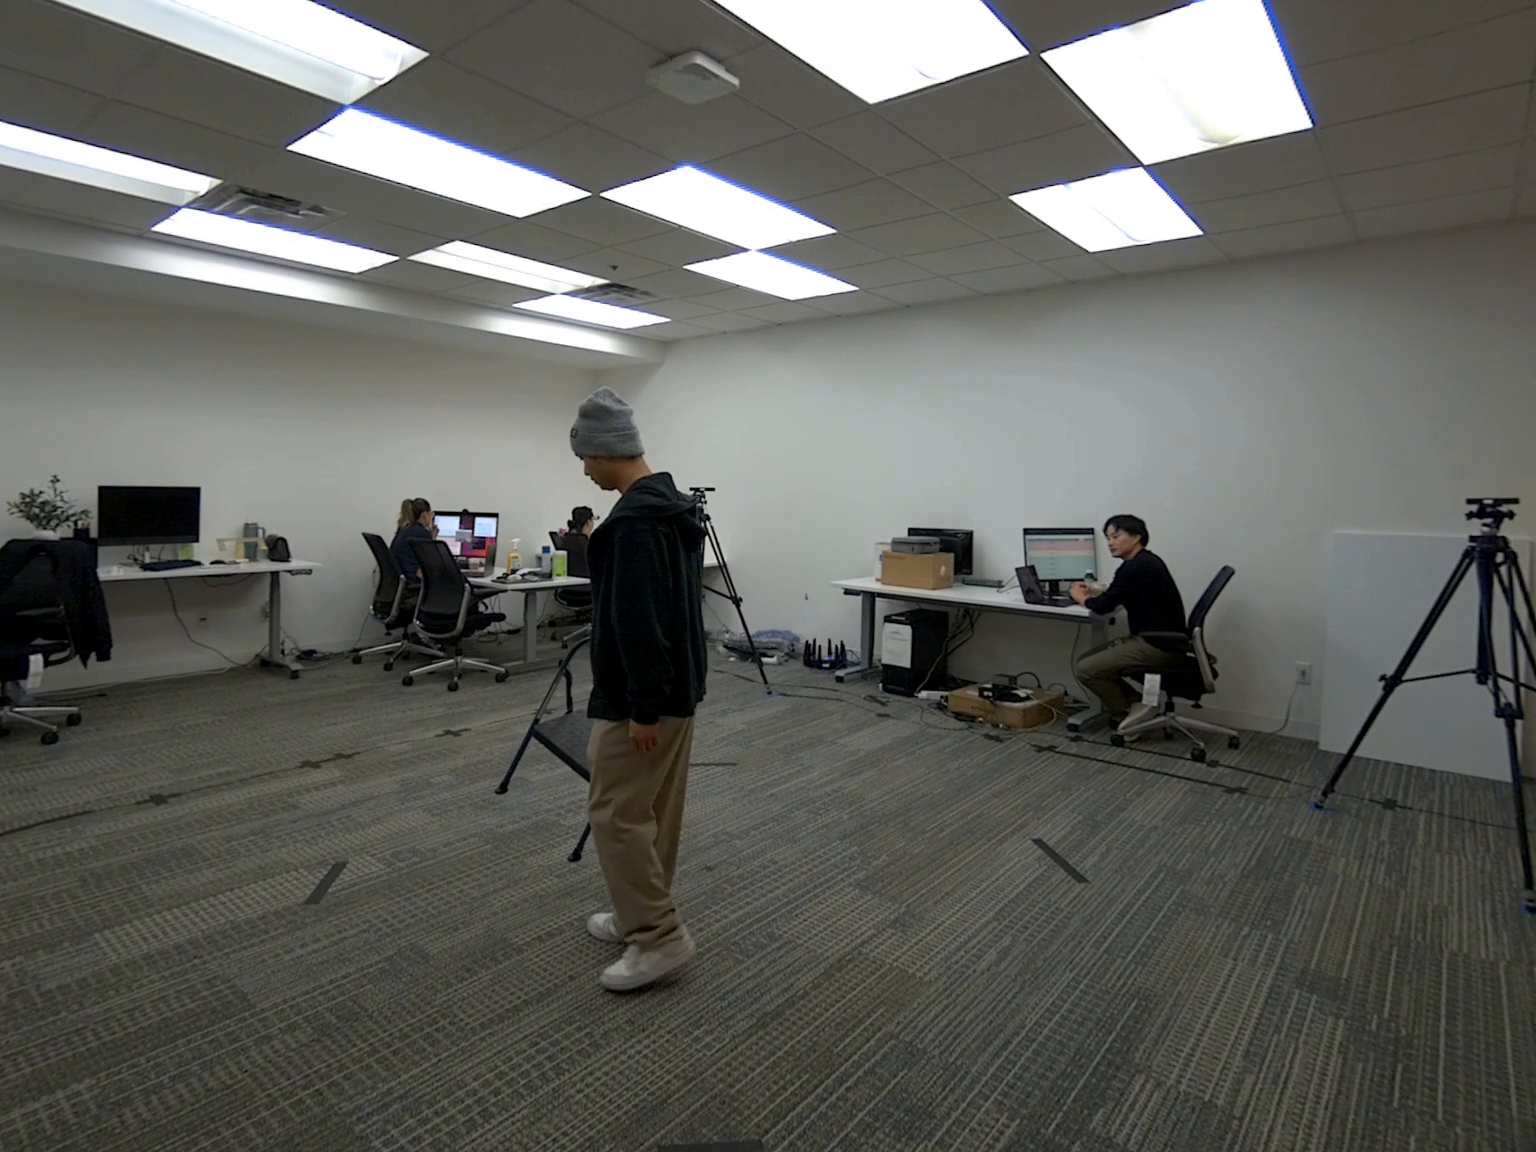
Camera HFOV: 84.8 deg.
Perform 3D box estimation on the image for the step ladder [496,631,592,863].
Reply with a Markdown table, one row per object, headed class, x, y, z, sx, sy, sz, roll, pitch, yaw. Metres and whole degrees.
| class | x | y | z | sx | sy | sz | roll | pitch | yaw |
| --- | --- | --- | --- | --- | --- | --- | --- | --- | --- |
| step ladder | -0.627 | 0.524 | 2.864 | 0.447 | 0.599 | 0.340 | 26 | 20 | 31 |
